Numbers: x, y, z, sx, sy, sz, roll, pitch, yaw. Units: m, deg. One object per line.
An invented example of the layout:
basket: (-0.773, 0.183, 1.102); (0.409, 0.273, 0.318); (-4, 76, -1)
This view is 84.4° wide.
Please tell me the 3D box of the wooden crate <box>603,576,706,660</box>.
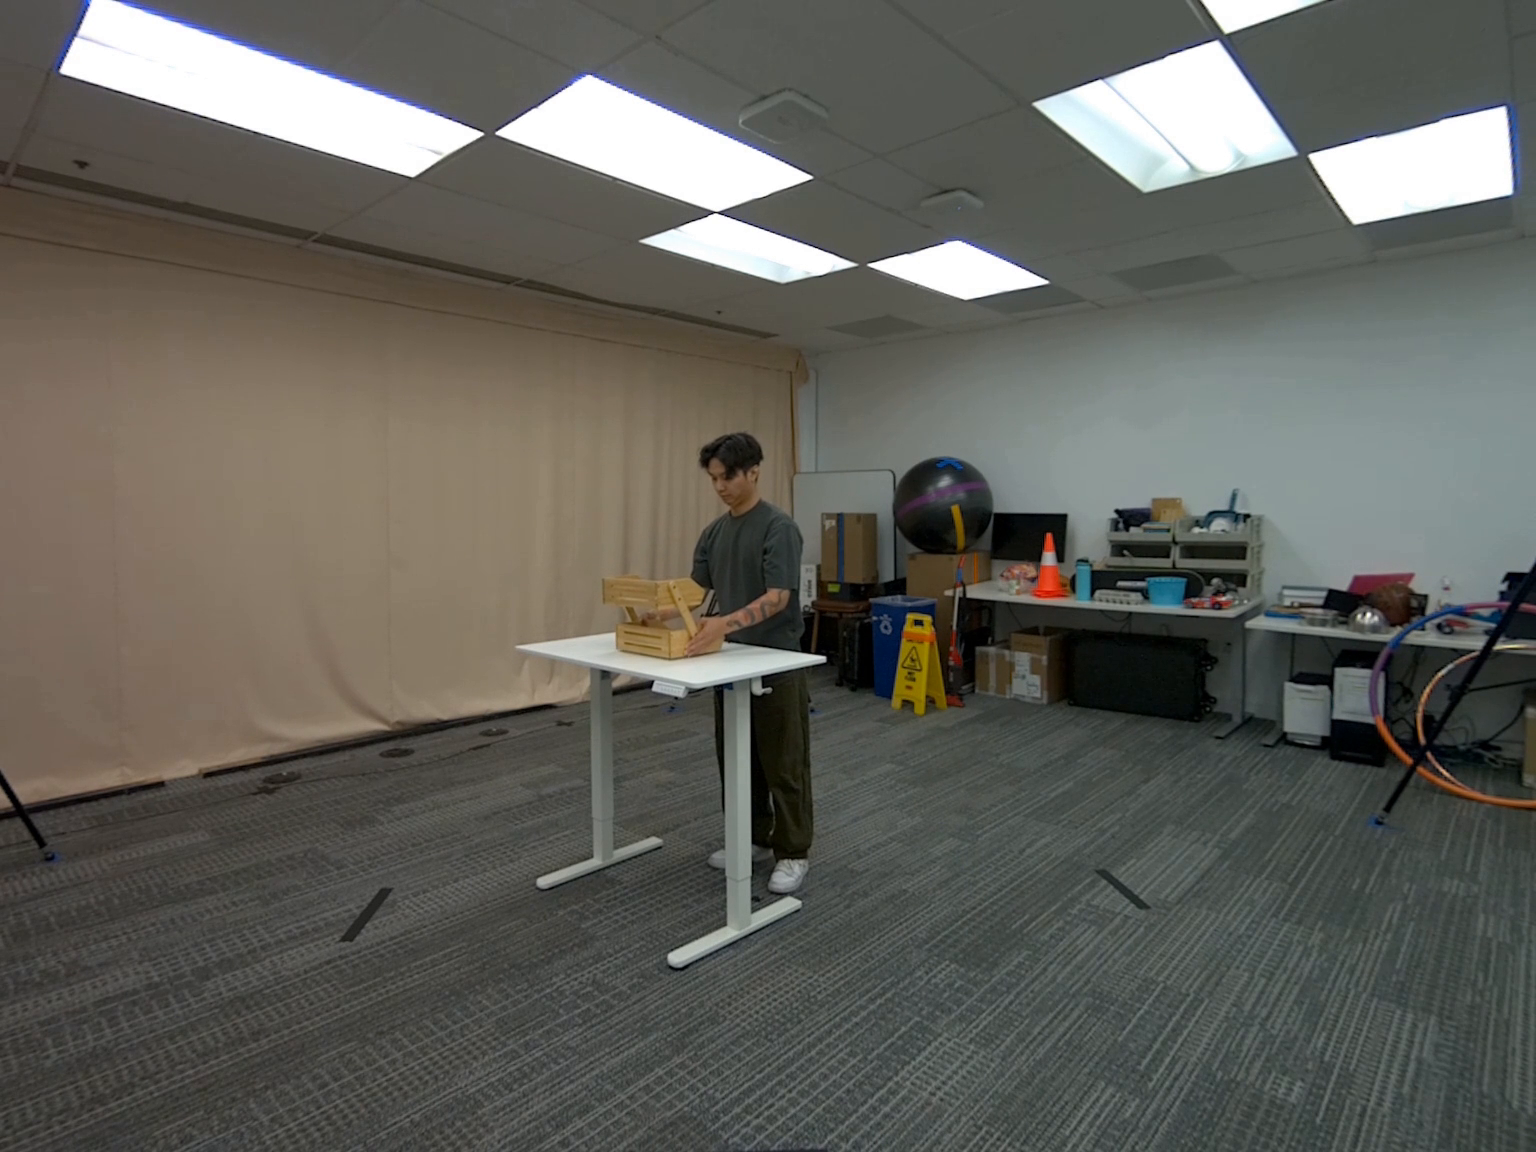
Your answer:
wooden crate: (-0.363, 0.130, 2.951); (0.335, 0.273, 0.293); (2, 4, 44)
